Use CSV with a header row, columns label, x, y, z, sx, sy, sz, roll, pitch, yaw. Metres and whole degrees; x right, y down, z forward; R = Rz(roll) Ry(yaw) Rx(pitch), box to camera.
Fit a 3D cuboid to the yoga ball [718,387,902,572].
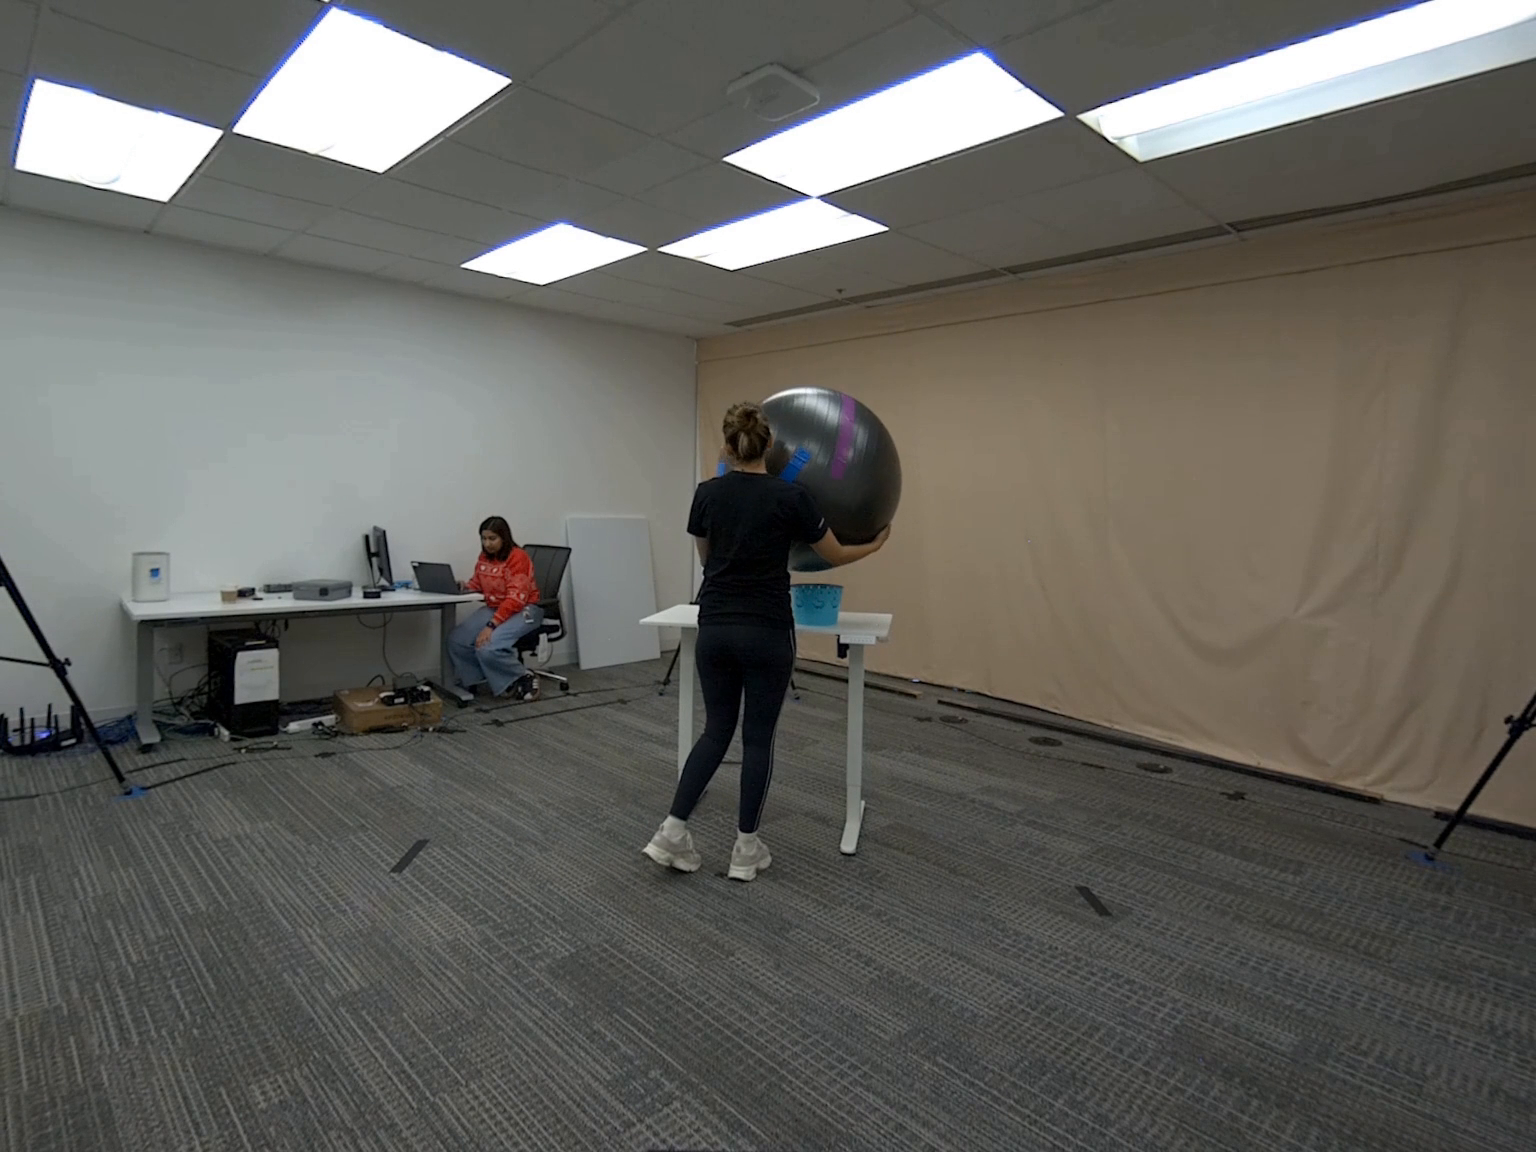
label,x,y,z,sx,sy,sz,roll,pitch,yaw
yoga ball,0.162,-0.386,3.466,0.757,0.756,0.761,1,4,-1
